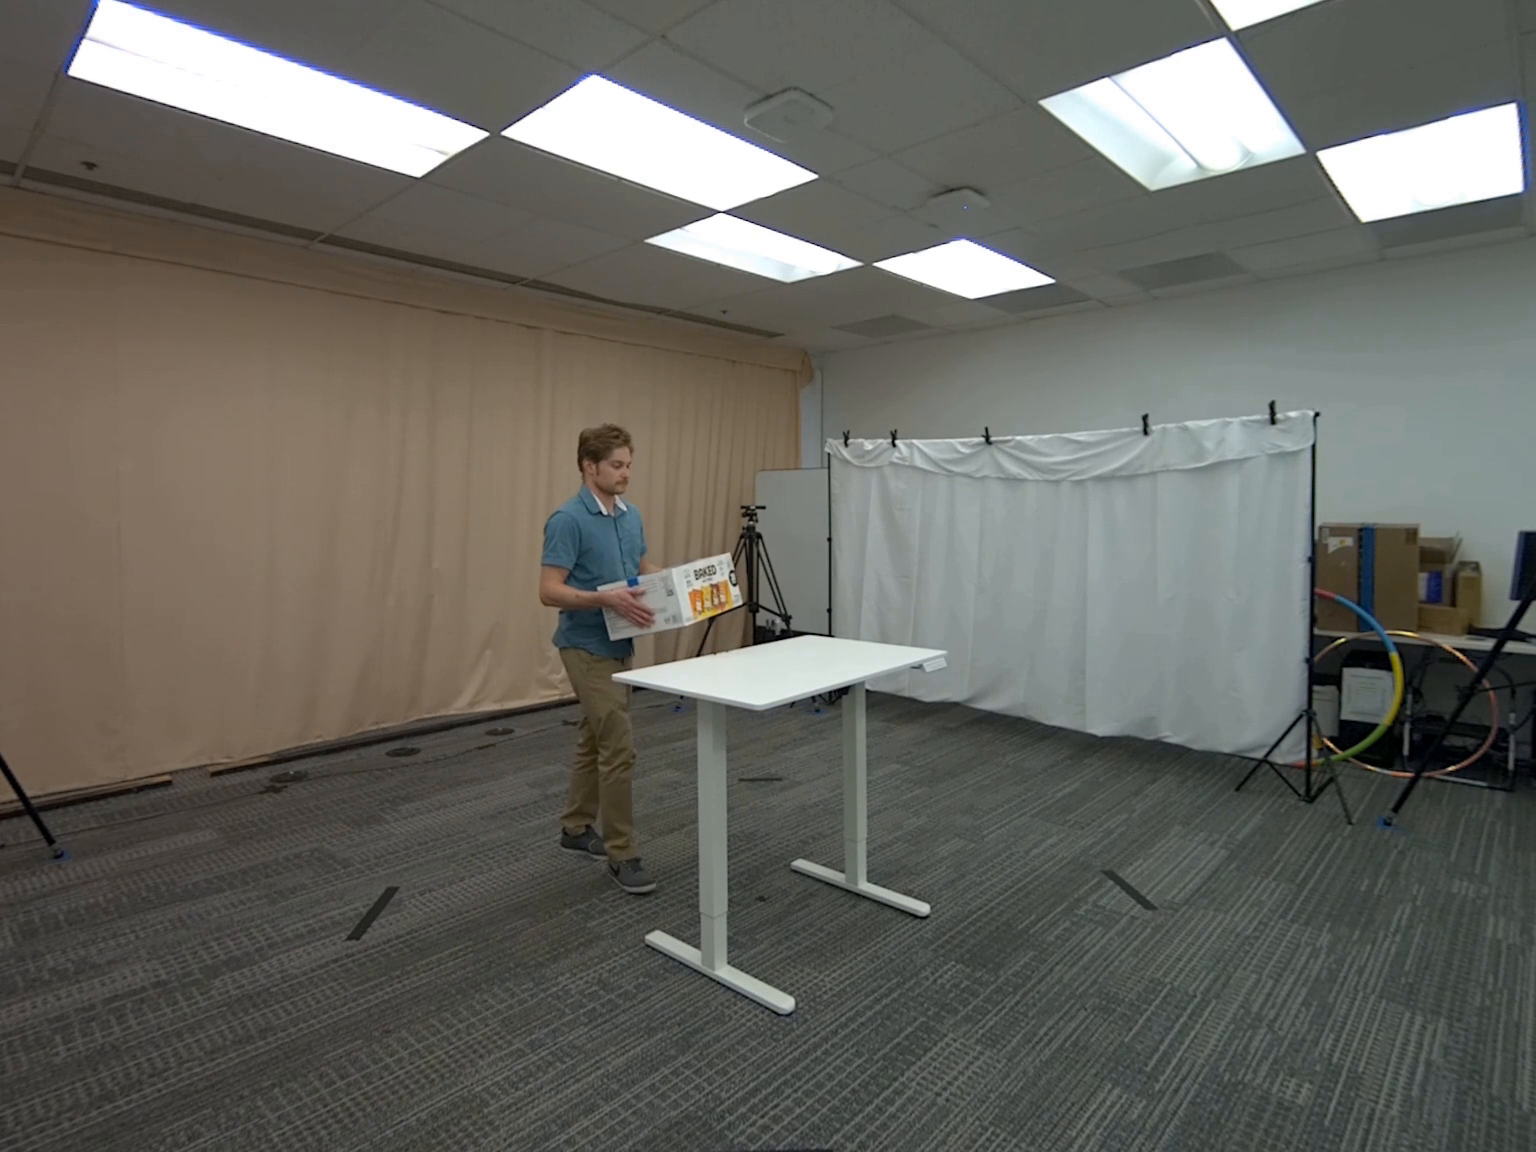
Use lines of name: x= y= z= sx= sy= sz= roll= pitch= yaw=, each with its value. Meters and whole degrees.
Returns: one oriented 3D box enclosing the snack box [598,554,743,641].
snack box: x=-0.348 y=0.074 z=3.096 sx=0.348 sy=0.205 sz=0.396 roll=-13 pitch=2 yaw=30
